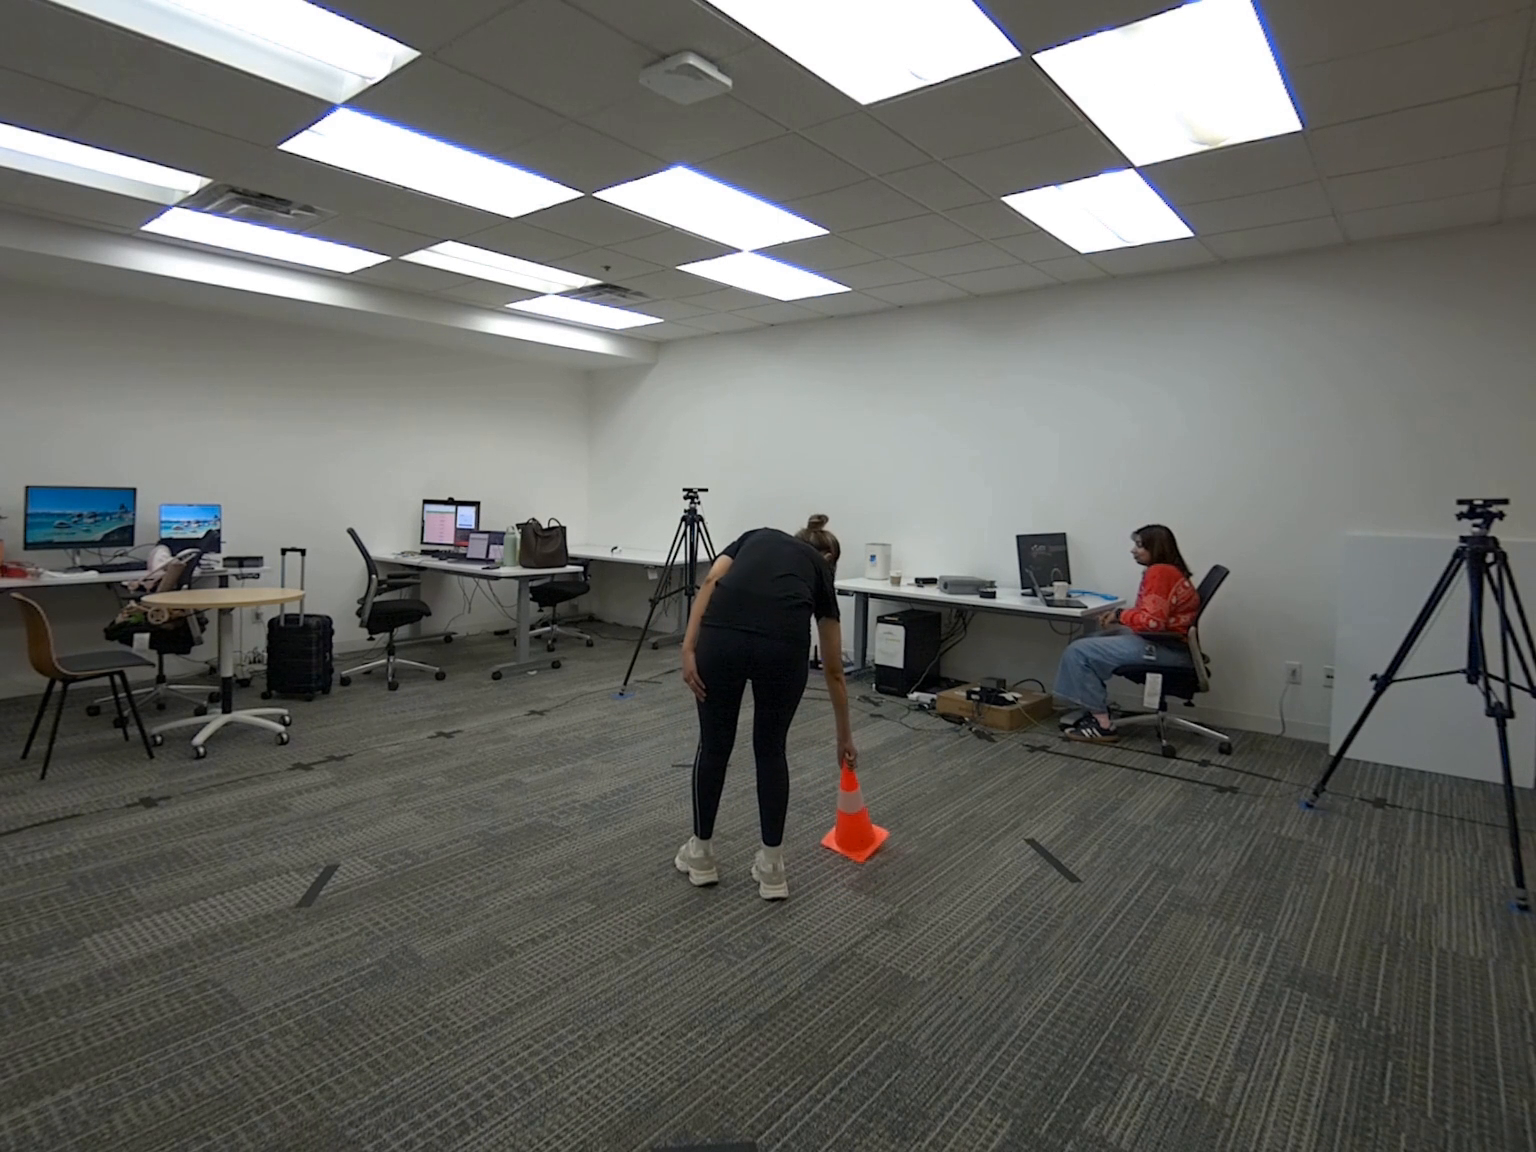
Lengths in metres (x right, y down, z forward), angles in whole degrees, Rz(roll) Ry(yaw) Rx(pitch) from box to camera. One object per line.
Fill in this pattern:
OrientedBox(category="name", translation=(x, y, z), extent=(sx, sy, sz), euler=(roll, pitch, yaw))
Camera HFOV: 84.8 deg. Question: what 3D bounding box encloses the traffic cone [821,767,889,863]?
OrientedBox(category="traffic cone", translation=(0.301, 0.857, 3.265), extent=(0.211, 0.375, 0.202), euler=(12, 31, 43))
